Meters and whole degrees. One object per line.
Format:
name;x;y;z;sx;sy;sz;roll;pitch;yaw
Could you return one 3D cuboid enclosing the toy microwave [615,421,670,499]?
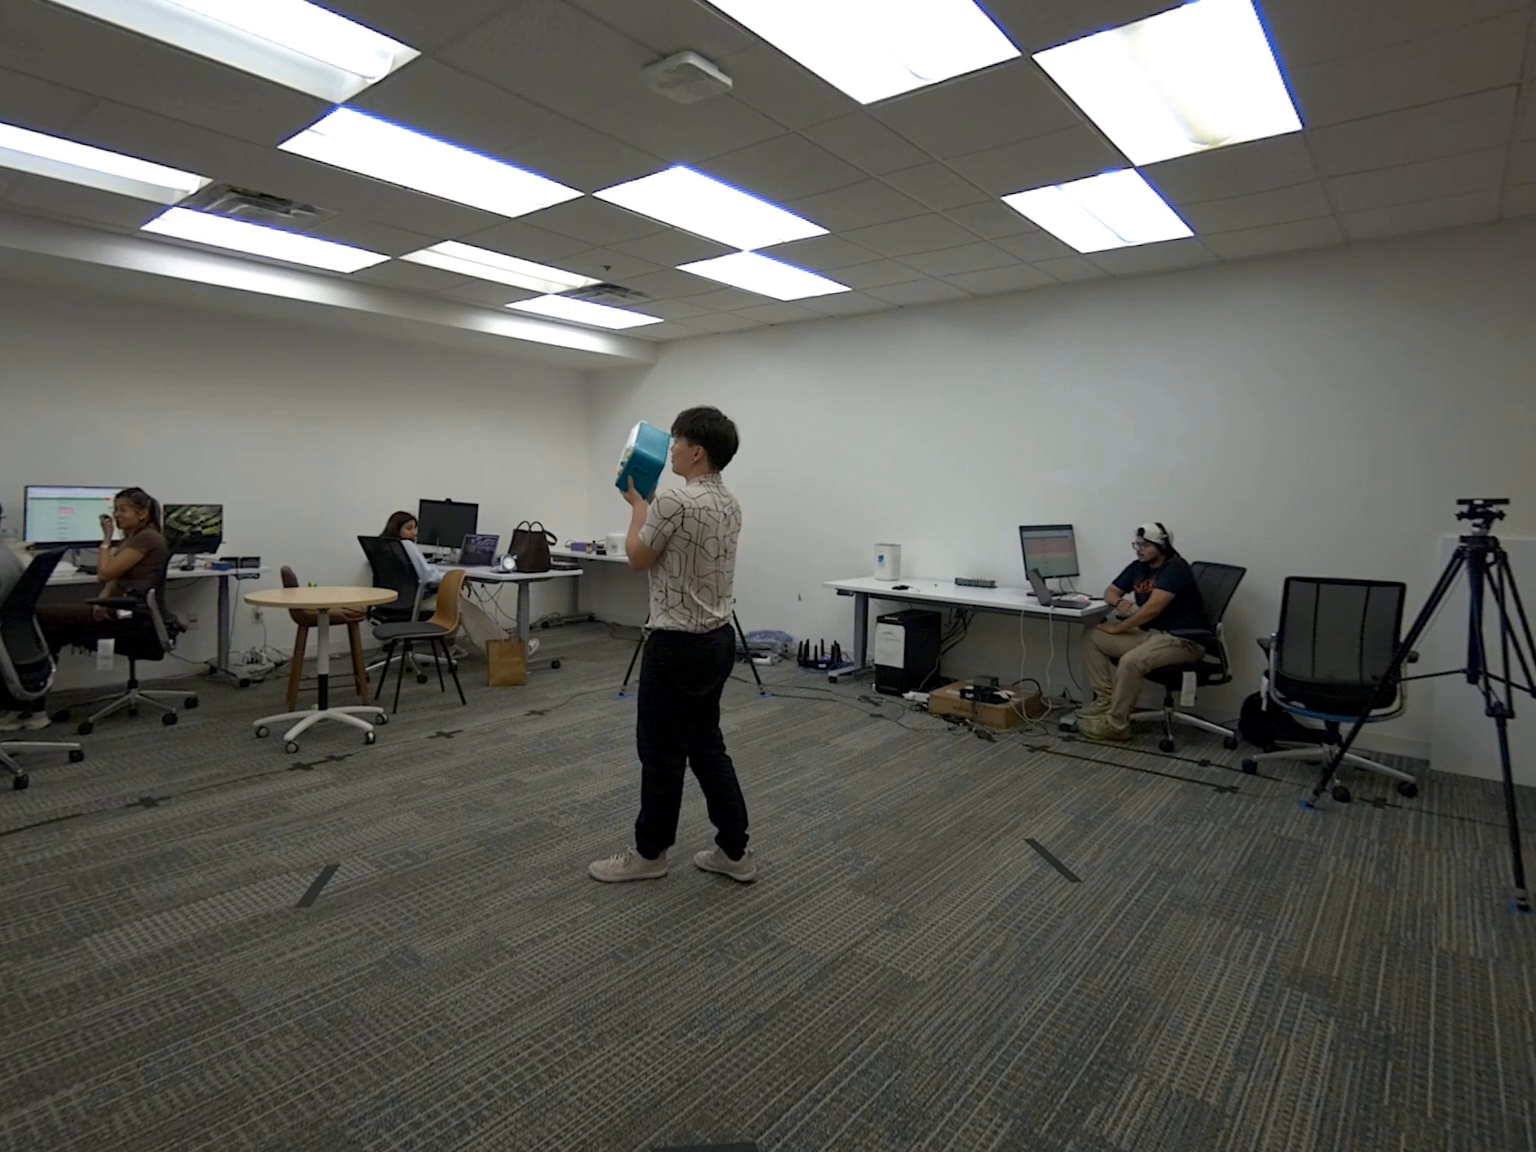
toy microwave;-0.492;-0.443;3.214;0.150;0.183;0.293;24;31;-15
